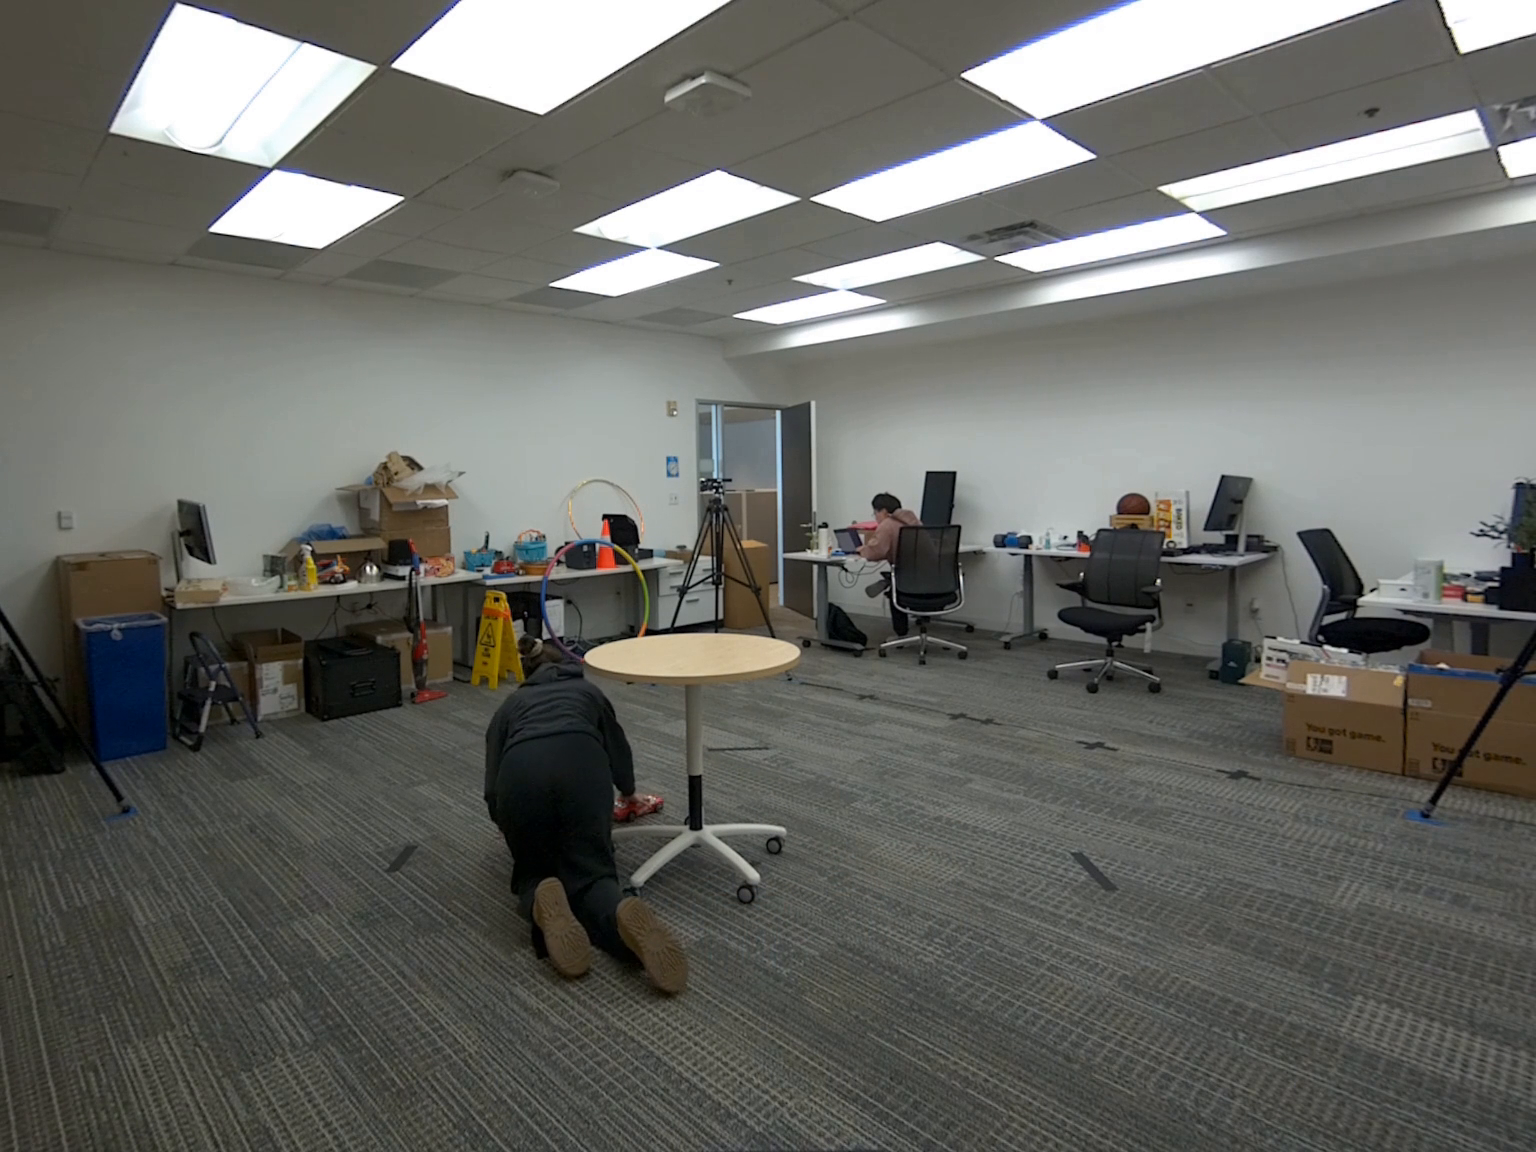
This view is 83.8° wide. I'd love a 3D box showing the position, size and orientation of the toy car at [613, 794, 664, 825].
[{"bbox_3d":[-0.561,0.972,3.571,0.246,0.083,0.134,8,-2,-42],"label":"toy car"}]
